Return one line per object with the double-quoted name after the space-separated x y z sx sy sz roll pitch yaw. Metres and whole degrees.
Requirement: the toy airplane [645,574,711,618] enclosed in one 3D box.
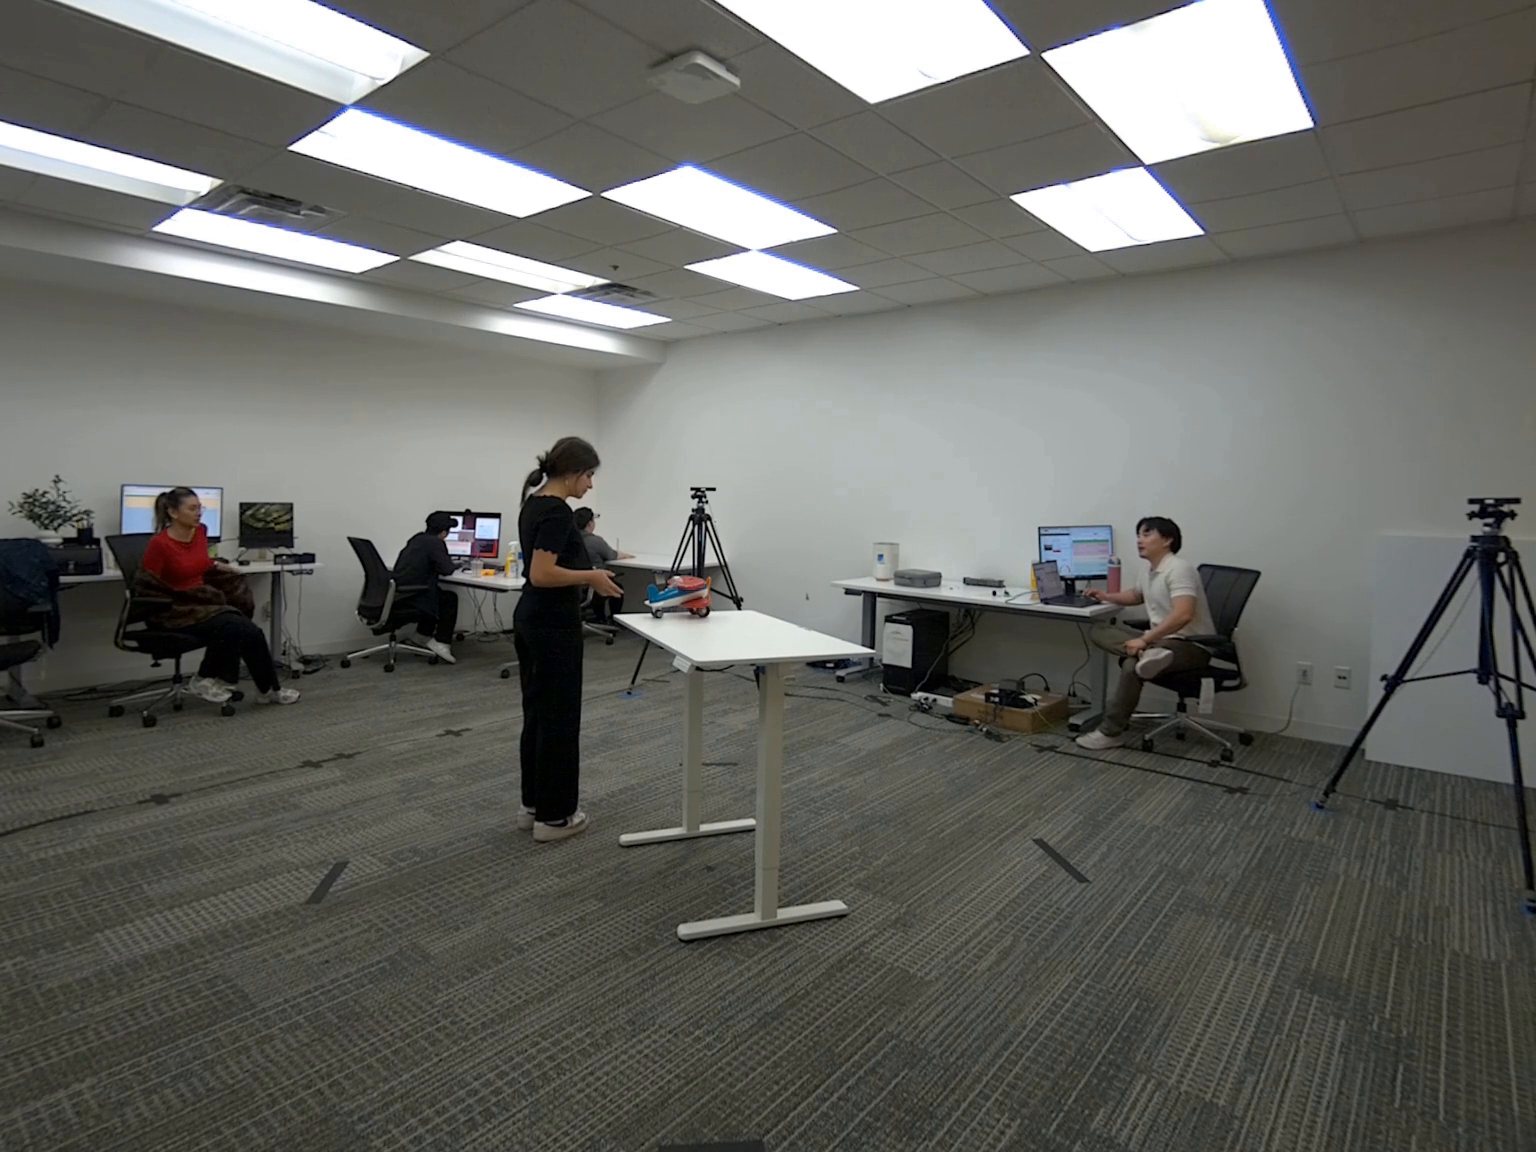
-0.354 0.084 3.345 0.259 0.156 0.251 3 3 37 "toy airplane"
